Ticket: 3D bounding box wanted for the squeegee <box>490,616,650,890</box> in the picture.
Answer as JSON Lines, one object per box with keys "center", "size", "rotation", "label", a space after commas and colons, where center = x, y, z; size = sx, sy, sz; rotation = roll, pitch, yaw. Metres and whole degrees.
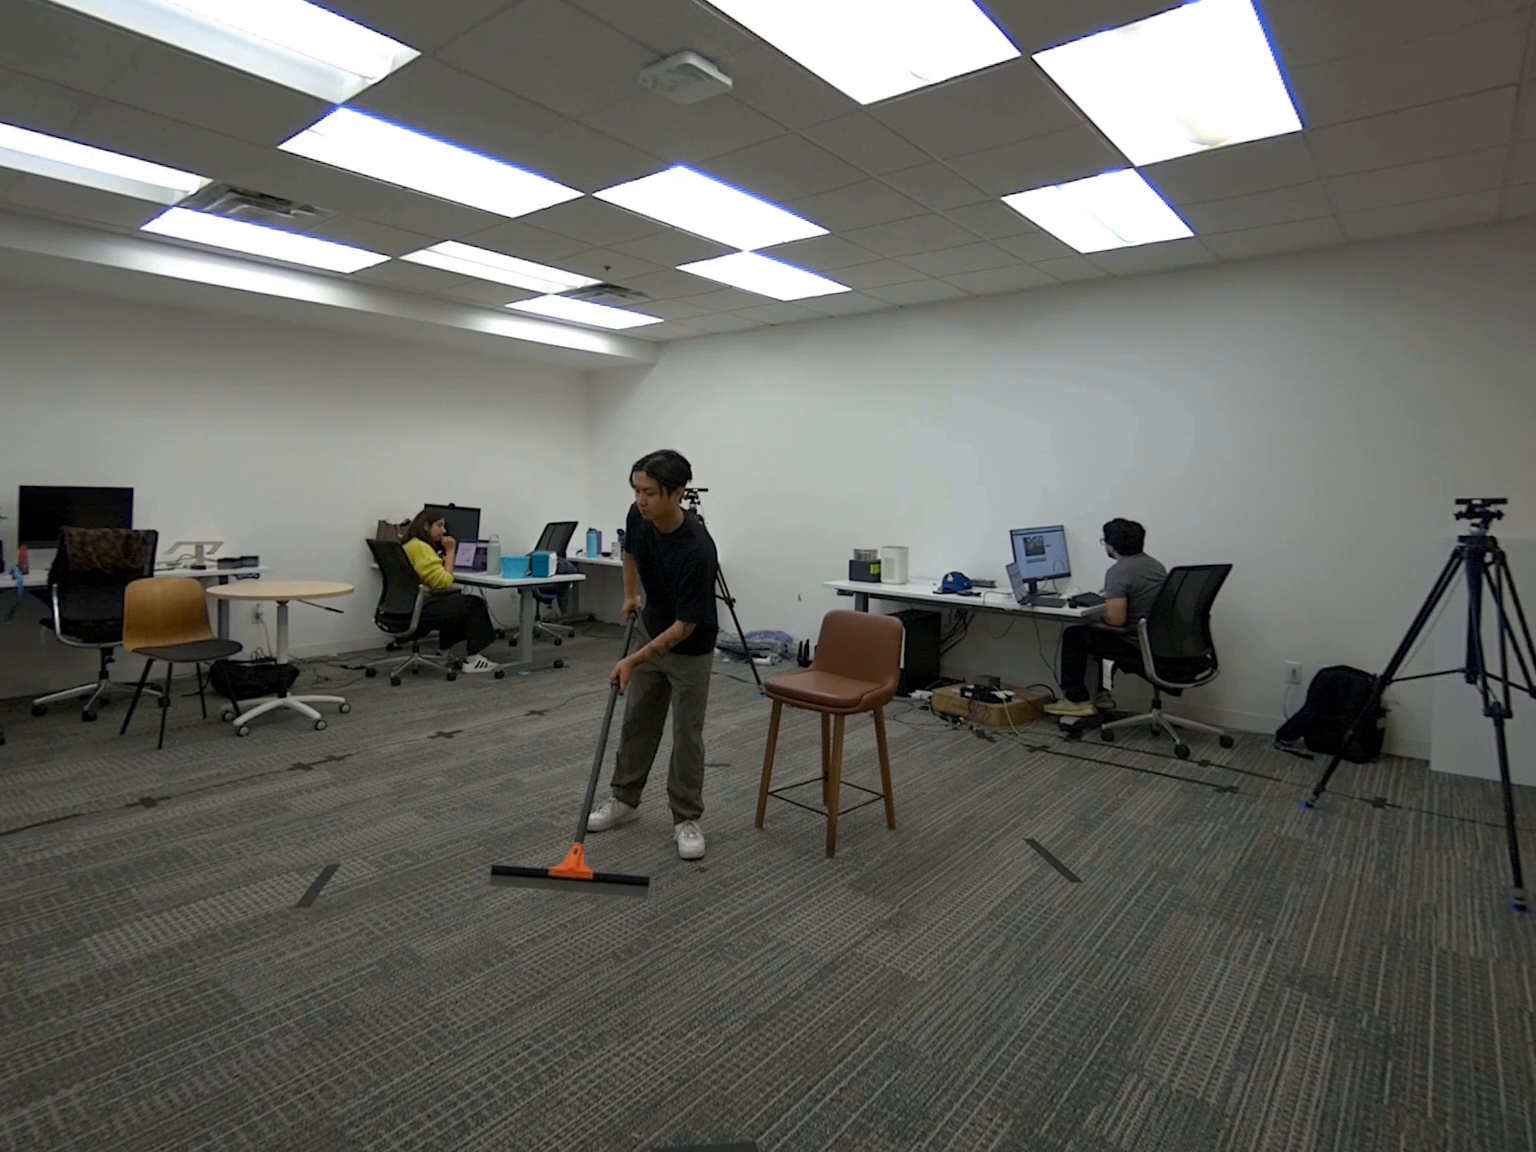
{"center": [-0.554, 0.481, 2.983], "size": [0.437, 0.052, 1.572], "rotation": [1, 28, -1], "label": "squeegee"}
